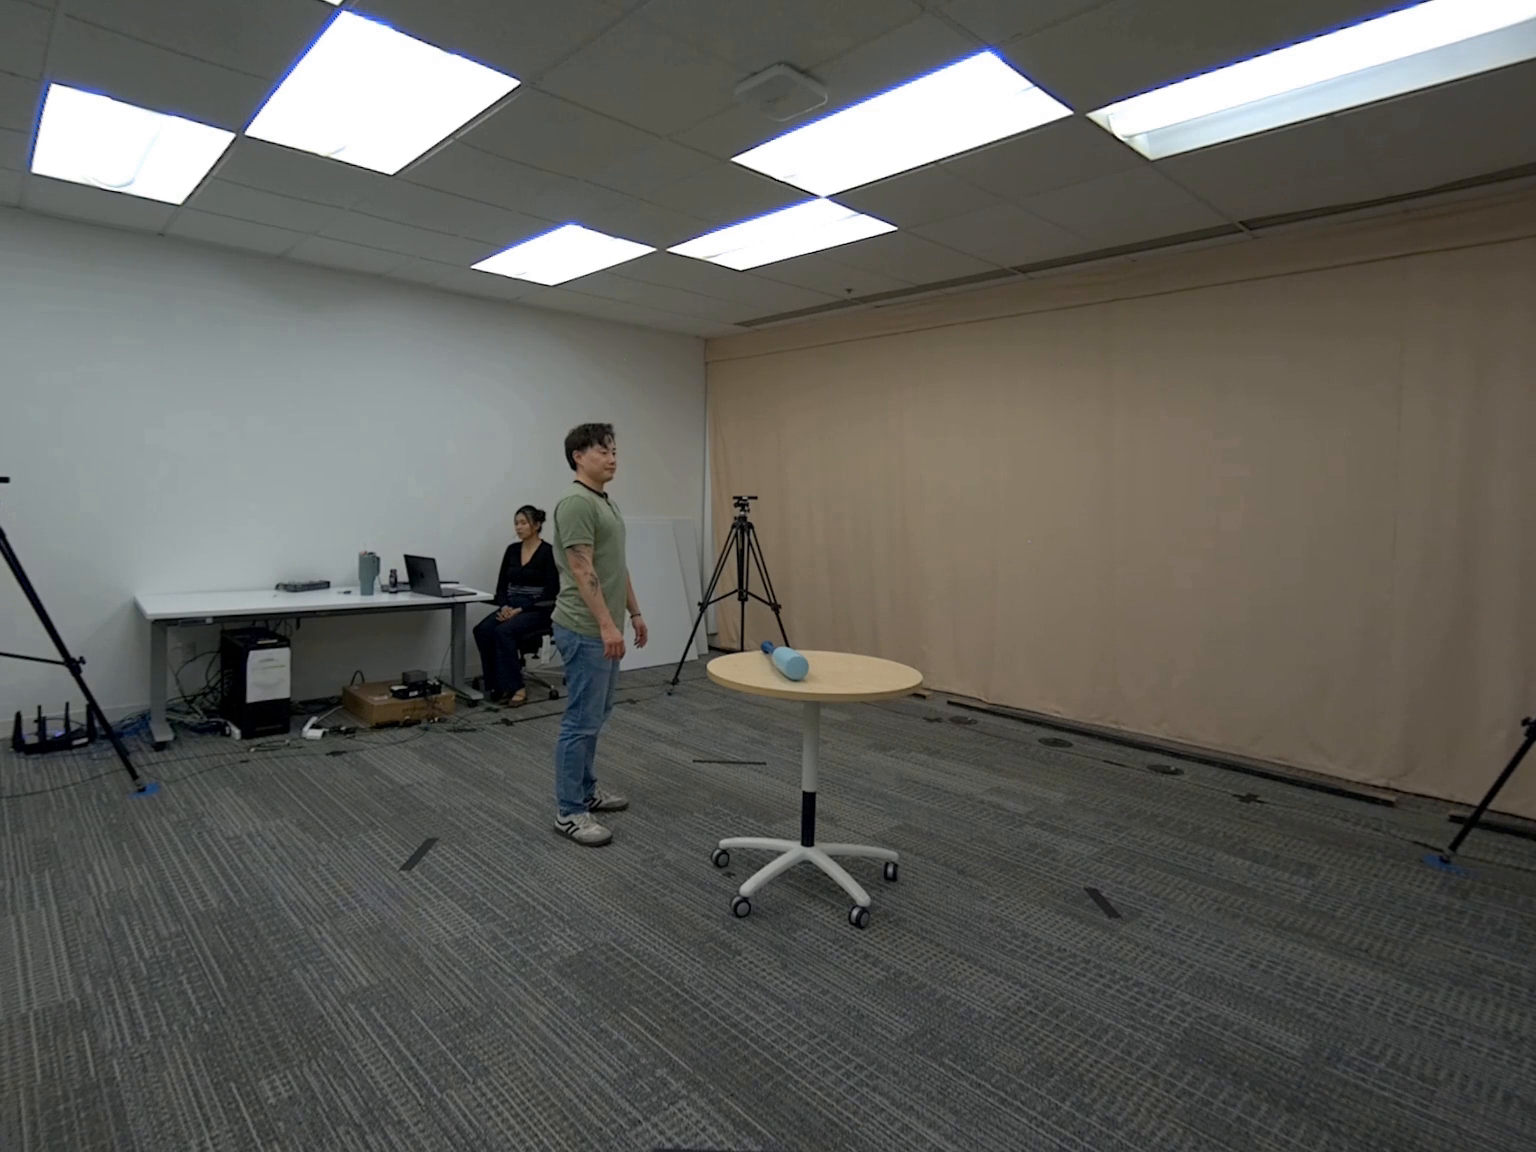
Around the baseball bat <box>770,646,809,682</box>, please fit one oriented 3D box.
[{"bbox_3d":[0.038,0.290,3.044,0.088,0.089,0.547,1,3,-10],"label":"baseball bat"}]
